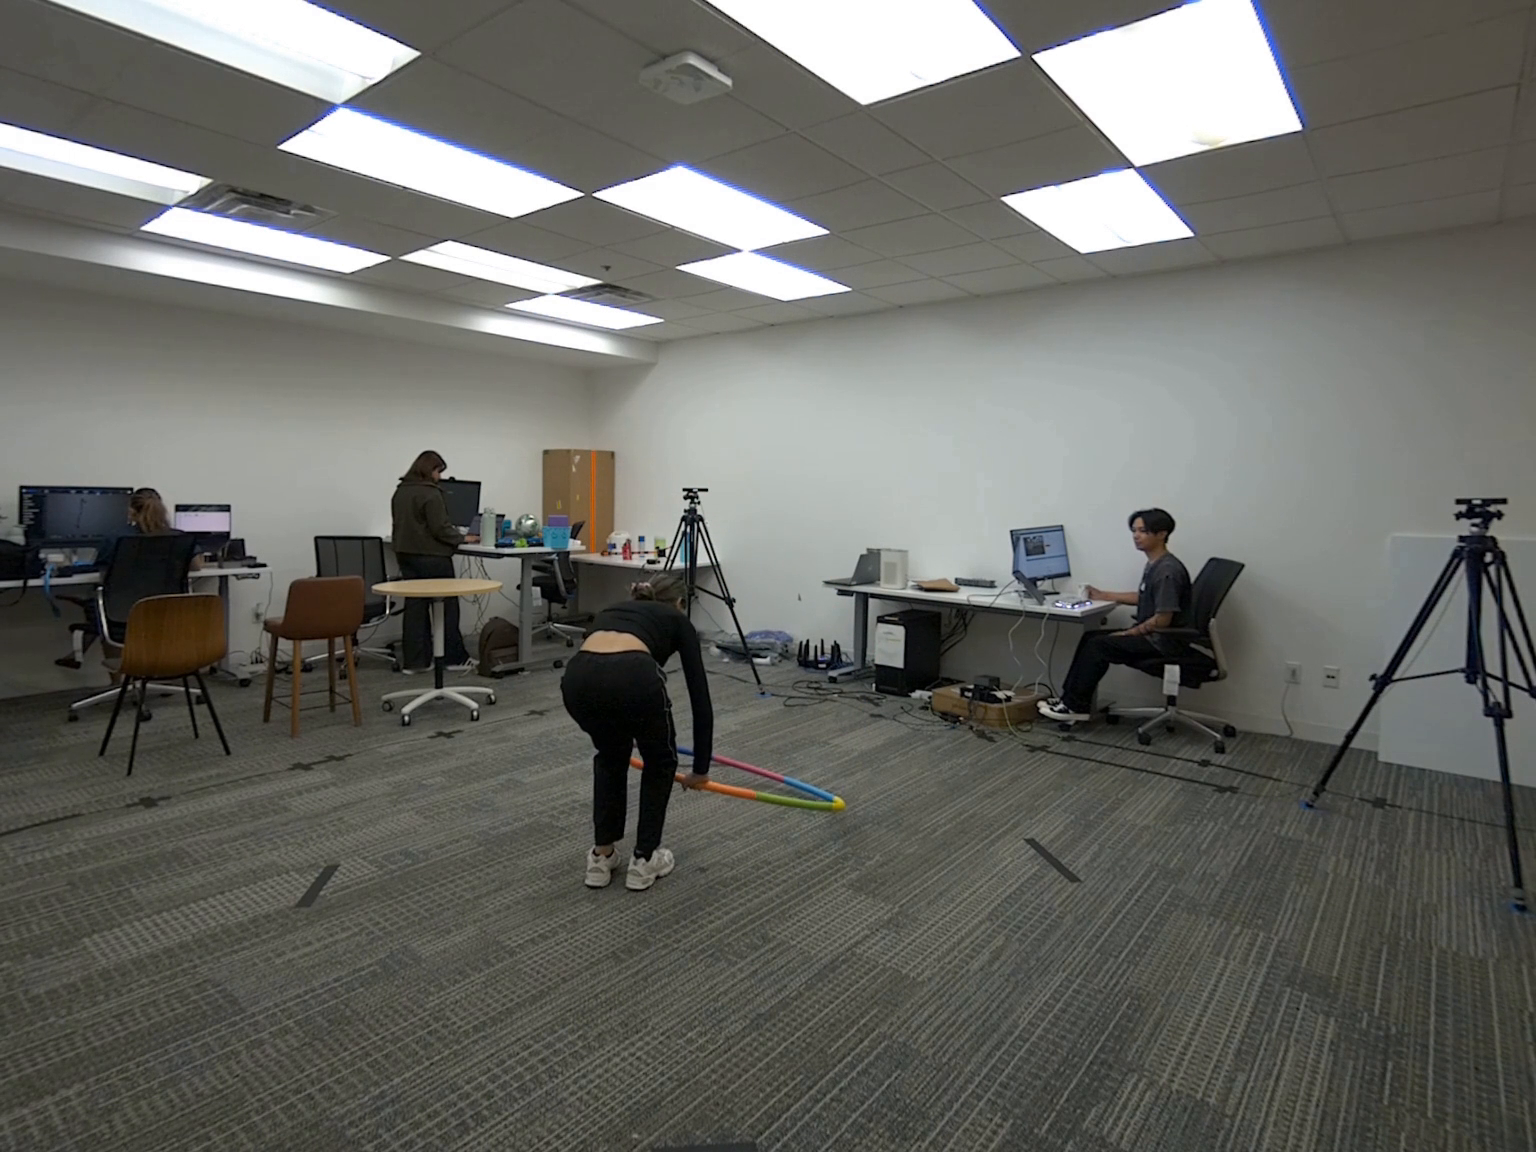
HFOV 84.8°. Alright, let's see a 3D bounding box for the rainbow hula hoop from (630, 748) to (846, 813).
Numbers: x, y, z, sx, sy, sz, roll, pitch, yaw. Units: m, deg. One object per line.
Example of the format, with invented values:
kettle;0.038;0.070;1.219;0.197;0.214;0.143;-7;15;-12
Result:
rainbow hula hoop;-0.165;0.826;3.581;0.980;0.036;0.973;14;-6;0
